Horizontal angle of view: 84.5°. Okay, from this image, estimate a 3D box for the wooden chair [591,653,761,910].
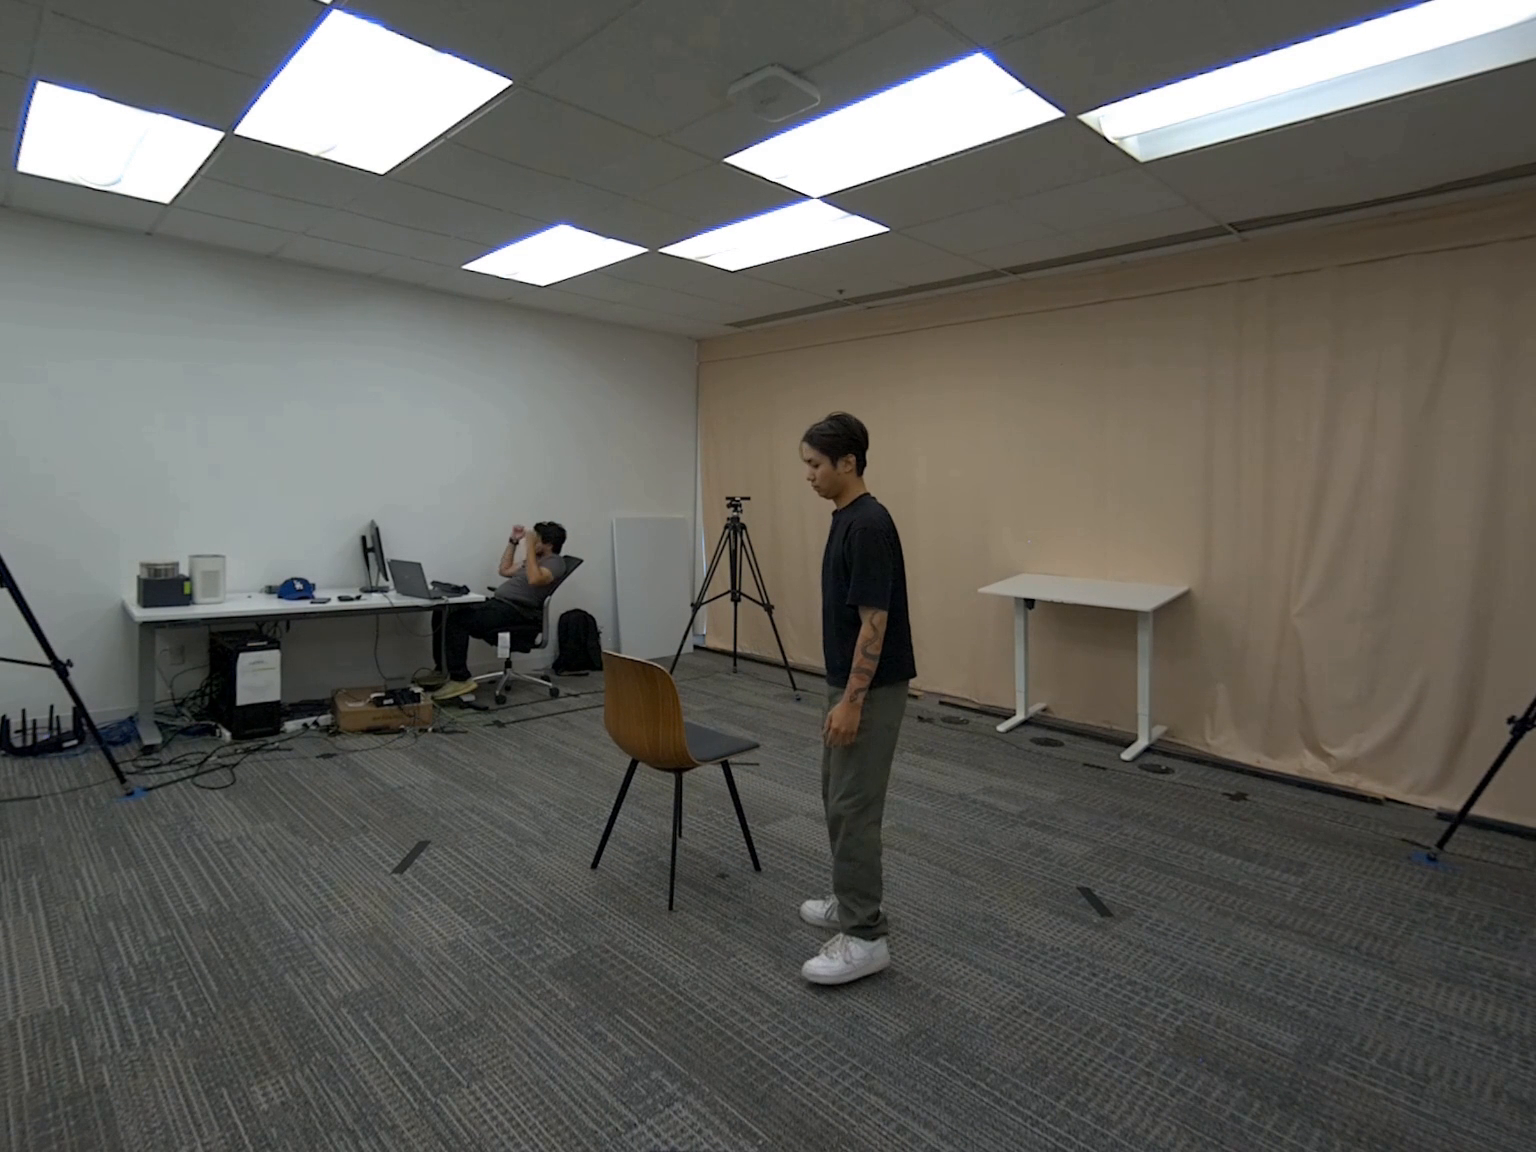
[{"bbox_3d":[-0.330,0.671,3.121,0.490,0.873,0.512,4,8,43],"label":"wooden chair"}]
